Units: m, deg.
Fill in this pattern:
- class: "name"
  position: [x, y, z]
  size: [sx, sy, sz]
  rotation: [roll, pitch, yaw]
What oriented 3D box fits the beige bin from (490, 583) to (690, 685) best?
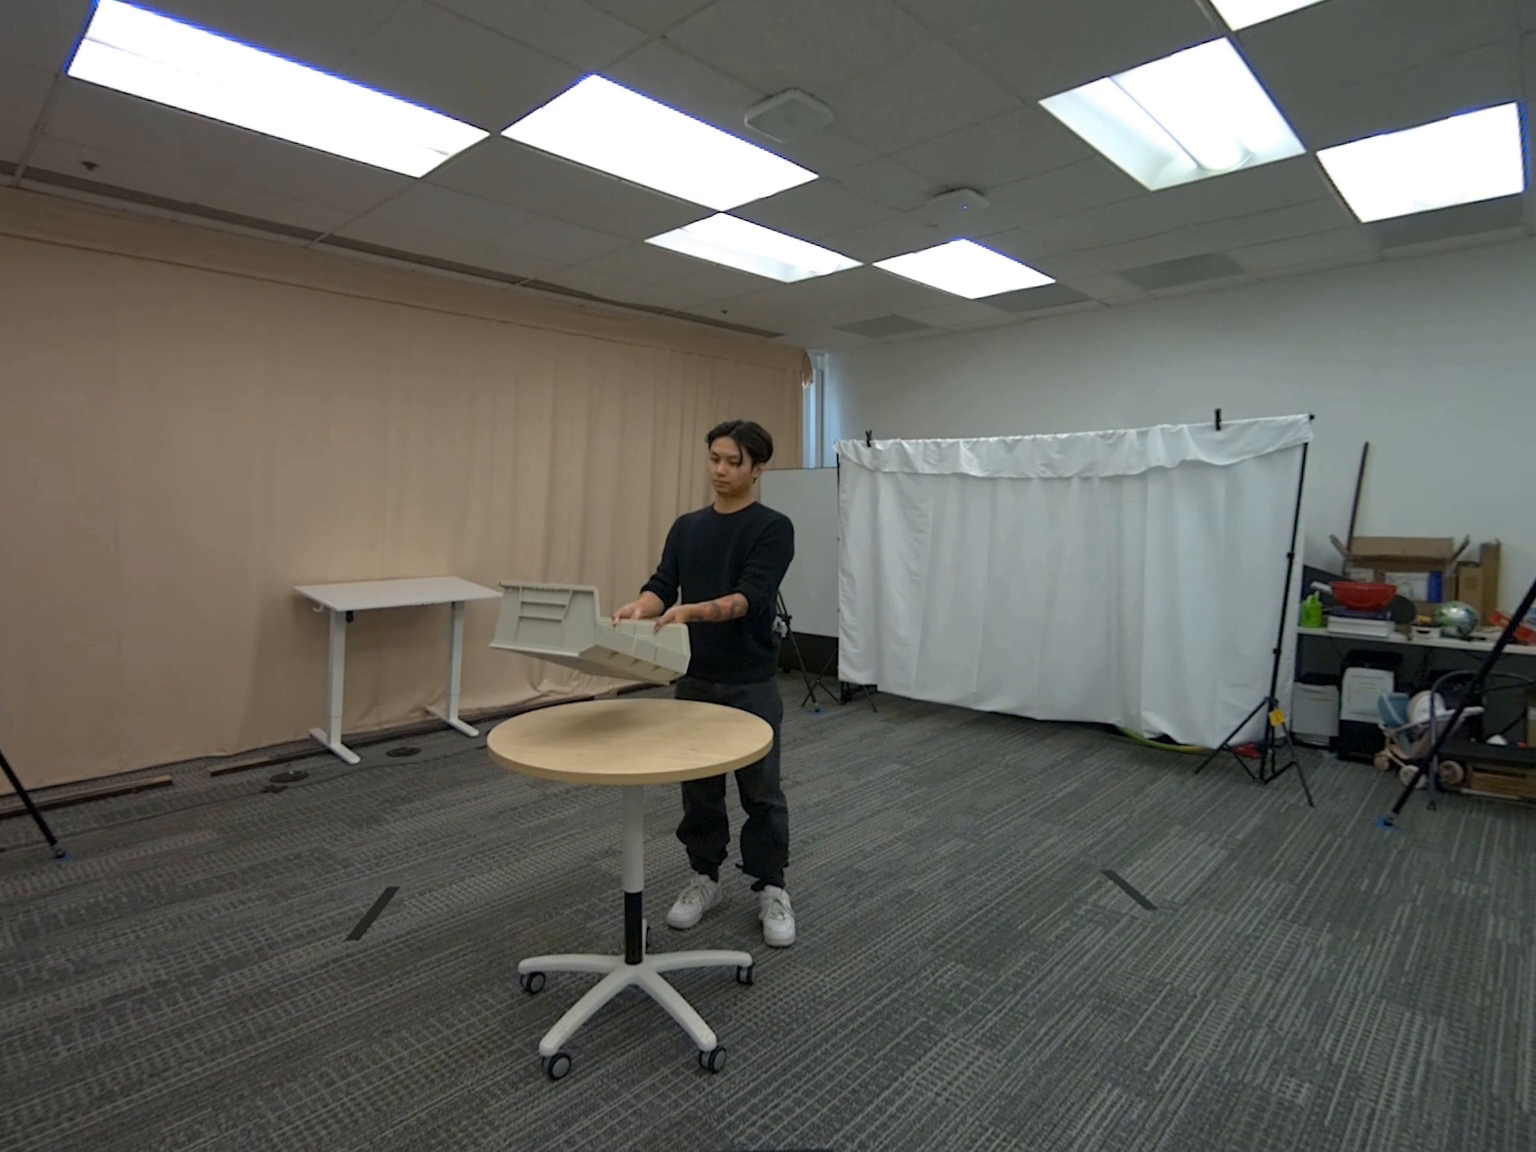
- class: "beige bin"
  position: [-0.476, 0.169, 2.314]
  size: [0.388, 0.190, 0.408]
  rotation: [2, -15, 30]
